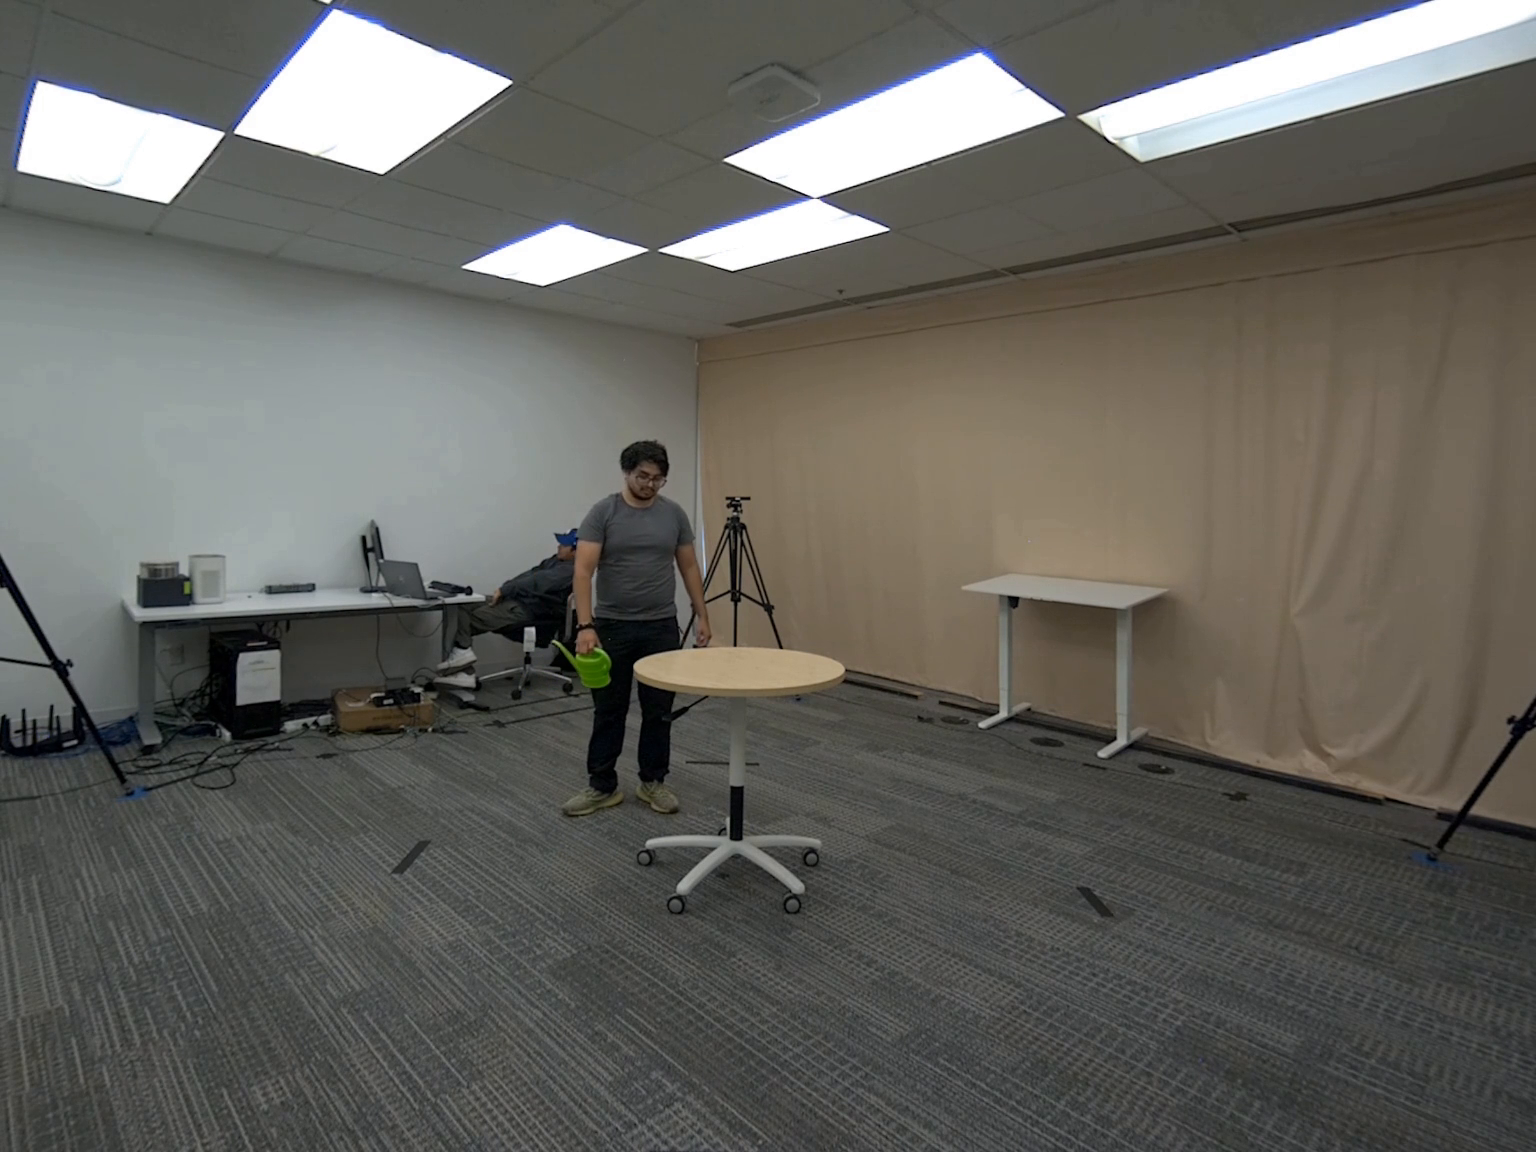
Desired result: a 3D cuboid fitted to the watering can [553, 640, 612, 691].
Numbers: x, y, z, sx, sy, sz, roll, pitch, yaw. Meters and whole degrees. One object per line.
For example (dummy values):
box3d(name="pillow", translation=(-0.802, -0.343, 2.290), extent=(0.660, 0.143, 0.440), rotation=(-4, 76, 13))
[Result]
box3d(name="watering can", translation=(-0.778, 0.357, 3.493), extent=(0.286, 0.174, 0.097), rotation=(12, 30, 38))
